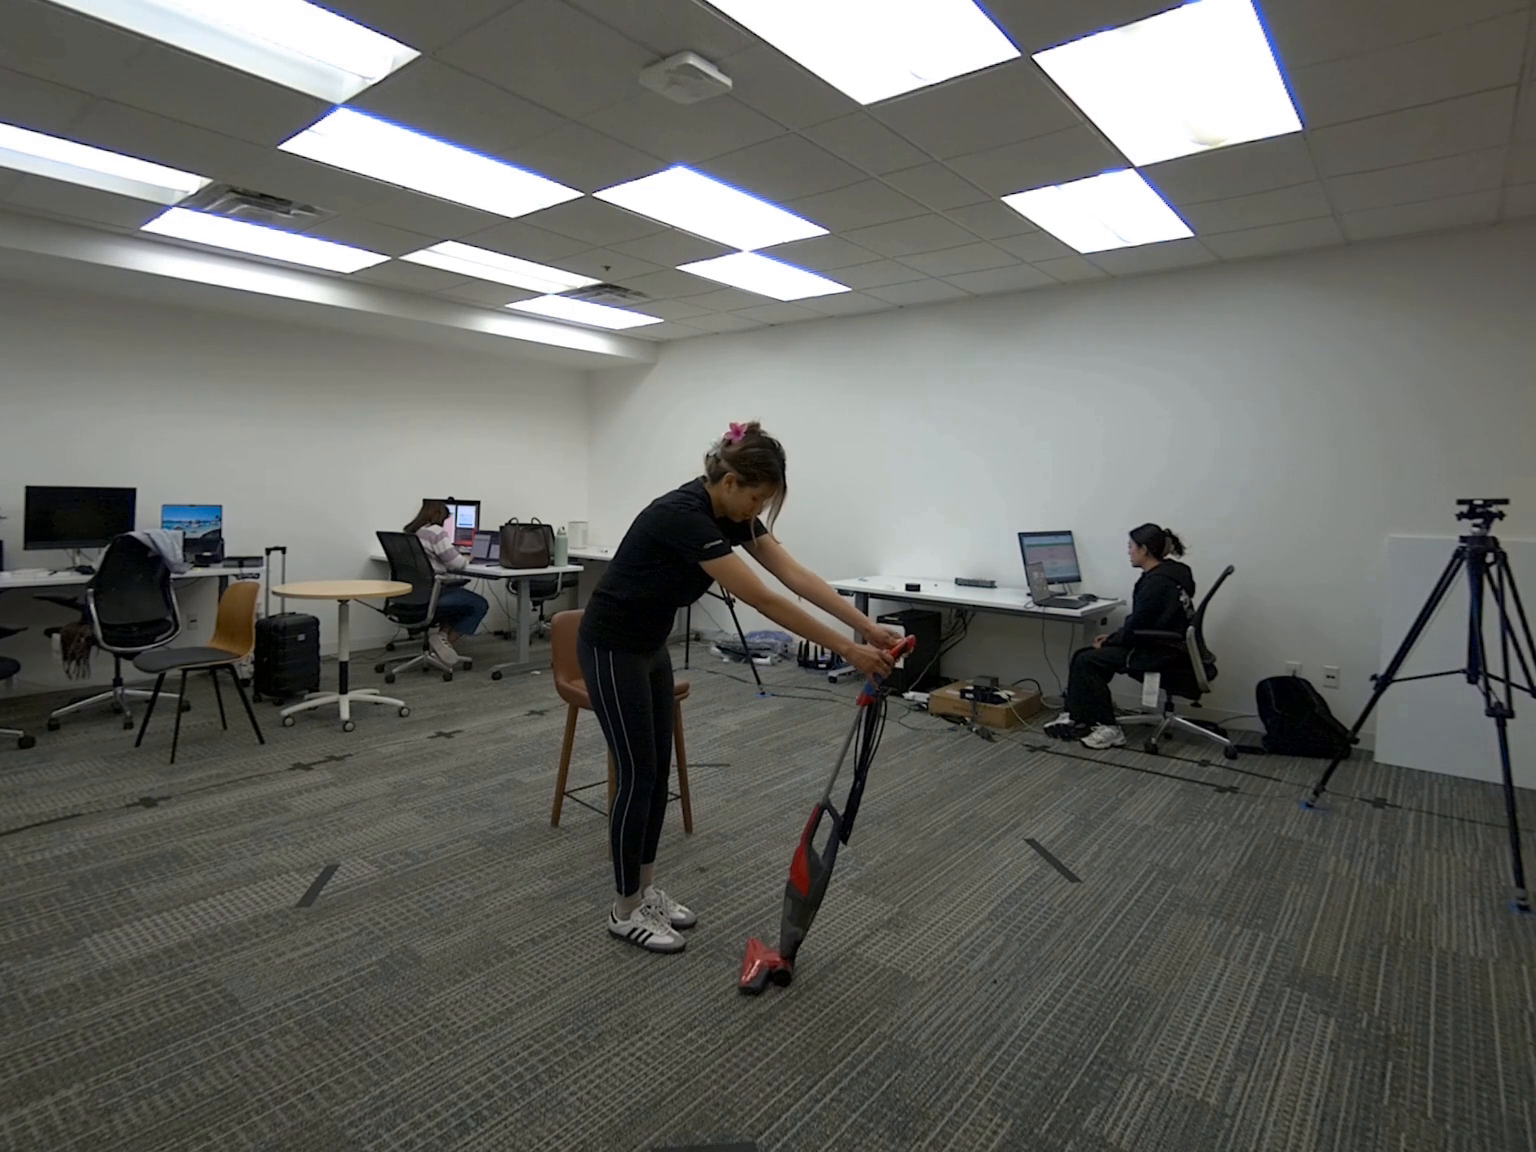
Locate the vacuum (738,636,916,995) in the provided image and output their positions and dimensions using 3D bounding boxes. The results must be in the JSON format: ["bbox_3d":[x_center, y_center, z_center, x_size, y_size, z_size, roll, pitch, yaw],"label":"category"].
[{"bbox_3d":[0.188,0.657,2.403,0.146,1.046,0.250,24,6,8],"label":"vacuum"}]
